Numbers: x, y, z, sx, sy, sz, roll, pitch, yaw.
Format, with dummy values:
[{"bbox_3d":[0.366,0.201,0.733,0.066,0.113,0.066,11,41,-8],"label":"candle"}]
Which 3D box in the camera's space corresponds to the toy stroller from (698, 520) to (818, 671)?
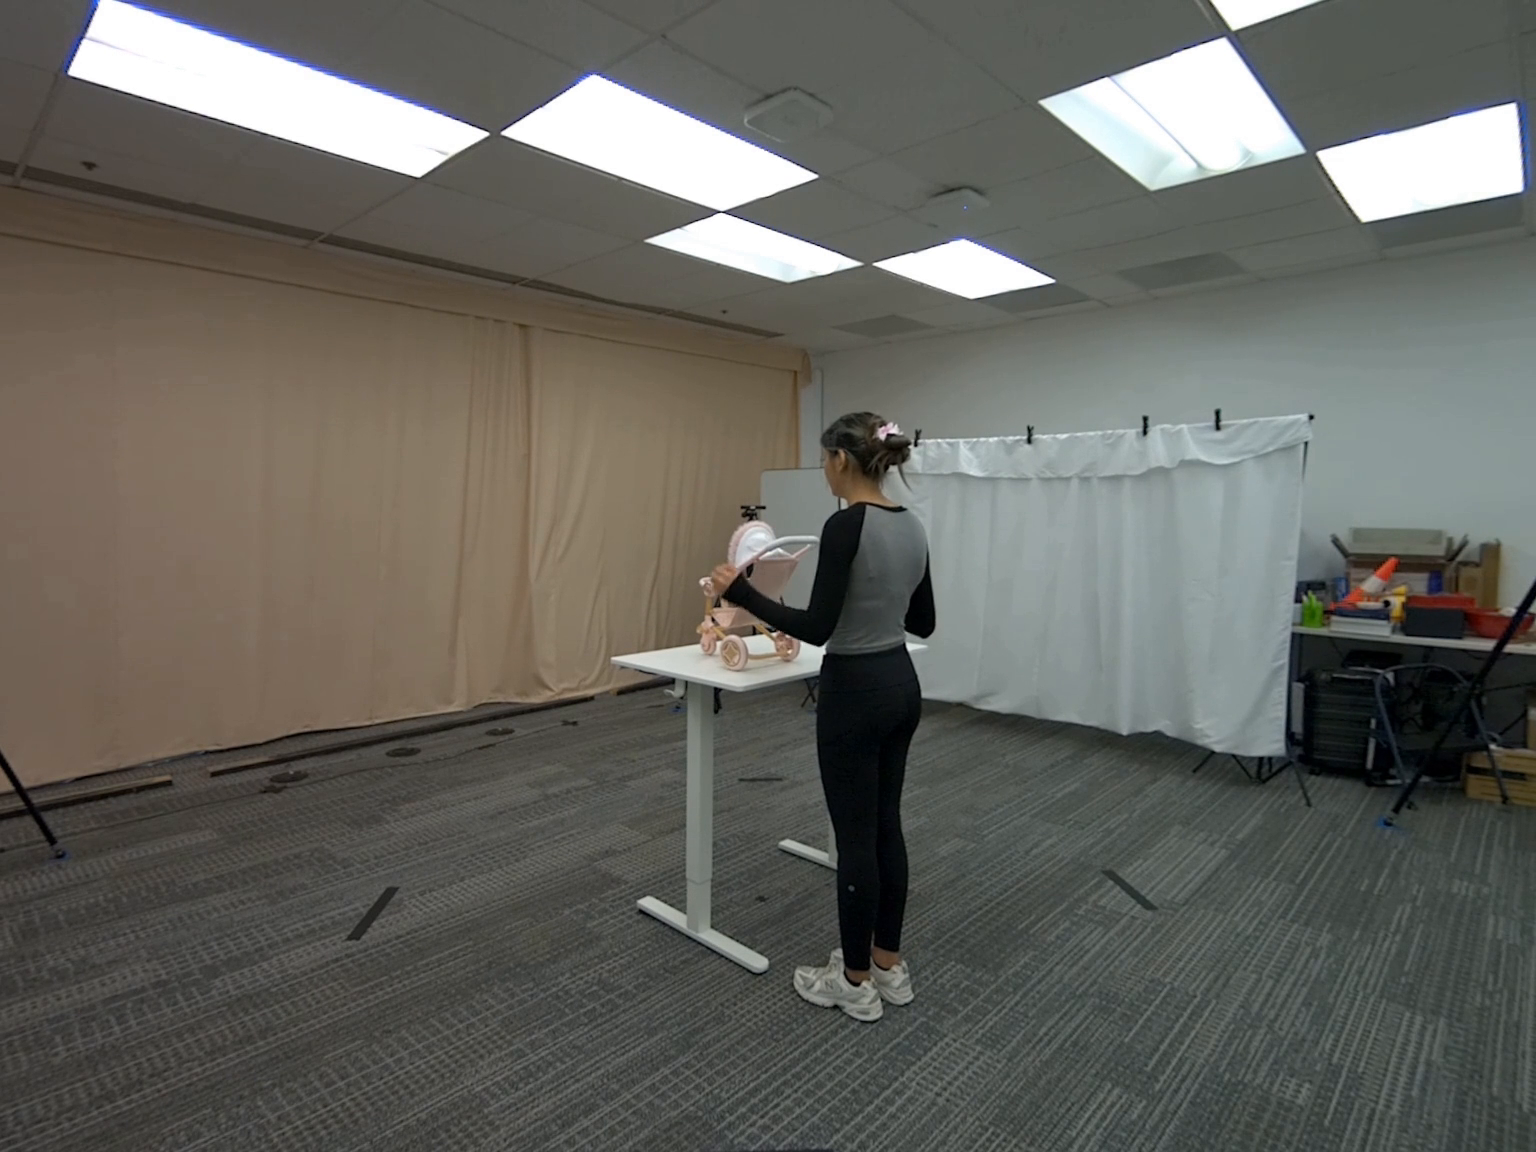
[{"bbox_3d":[-0.059,0.061,2.710,0.273,0.531,0.354,-3,22,-41],"label":"toy stroller"}]
